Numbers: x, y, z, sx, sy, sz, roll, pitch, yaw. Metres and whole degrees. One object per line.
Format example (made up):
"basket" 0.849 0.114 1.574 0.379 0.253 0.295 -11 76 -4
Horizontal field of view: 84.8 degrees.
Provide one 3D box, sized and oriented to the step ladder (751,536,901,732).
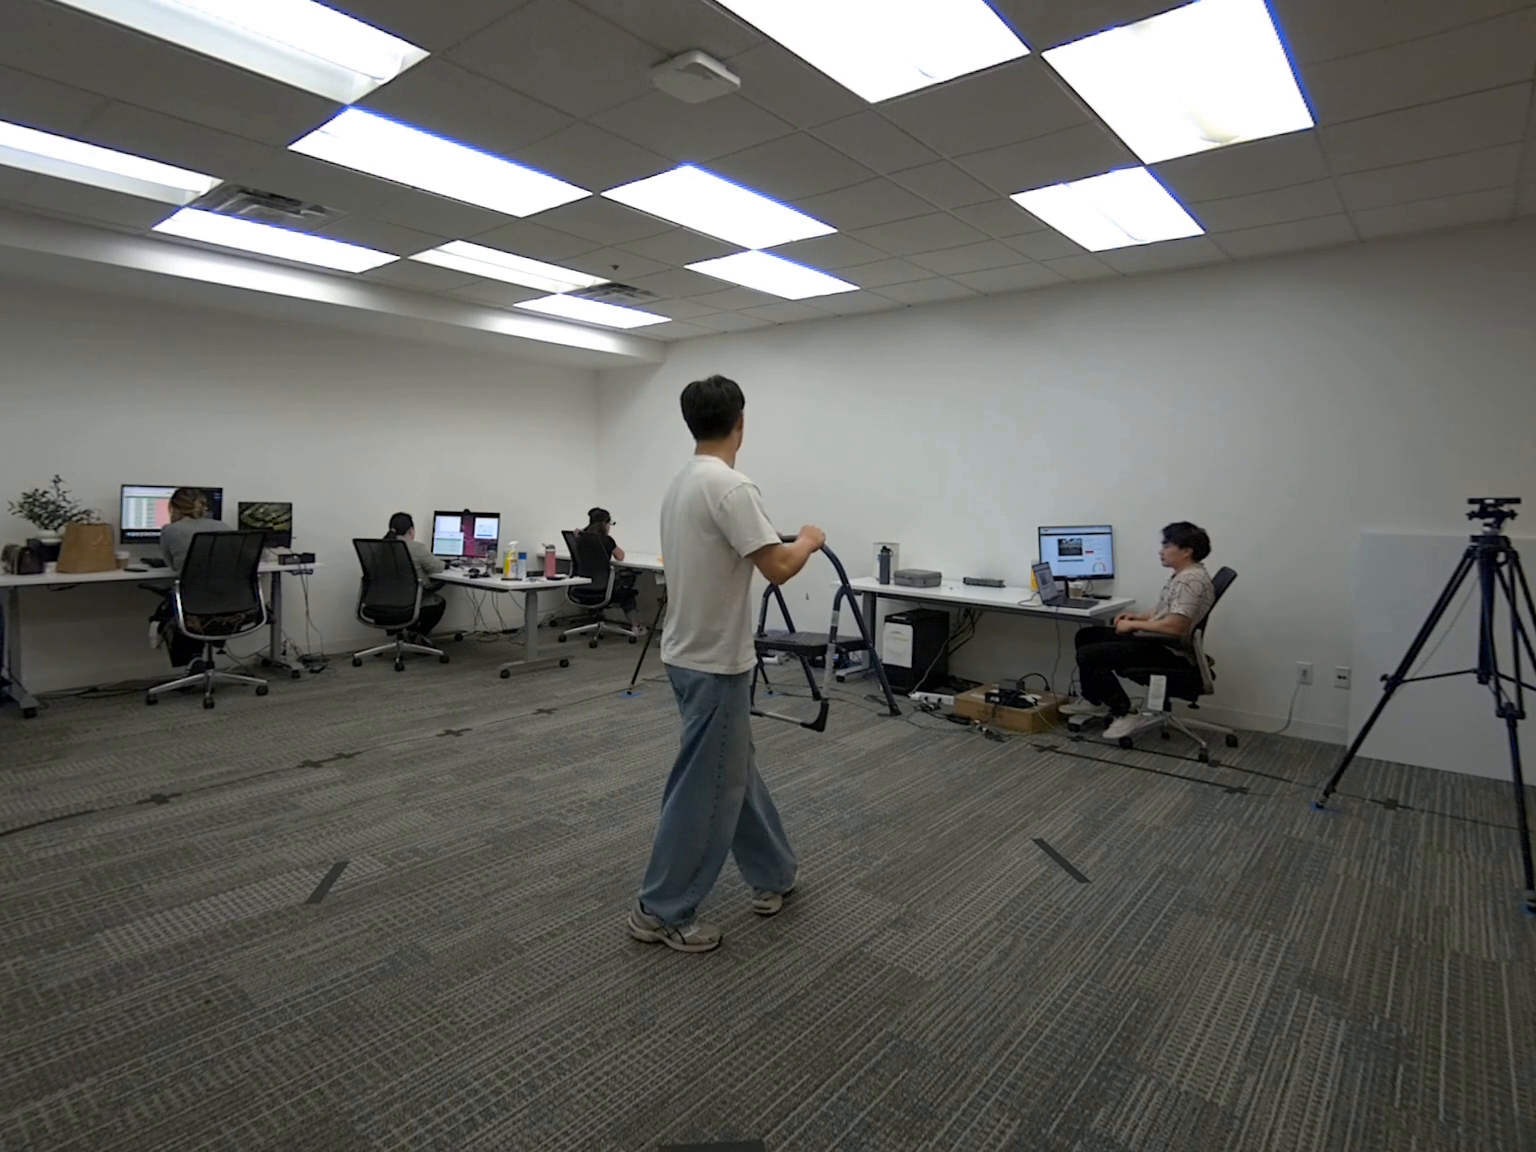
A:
"step ladder" 0.138 0.166 2.866 0.340 0.606 0.443 -5 1 -35
